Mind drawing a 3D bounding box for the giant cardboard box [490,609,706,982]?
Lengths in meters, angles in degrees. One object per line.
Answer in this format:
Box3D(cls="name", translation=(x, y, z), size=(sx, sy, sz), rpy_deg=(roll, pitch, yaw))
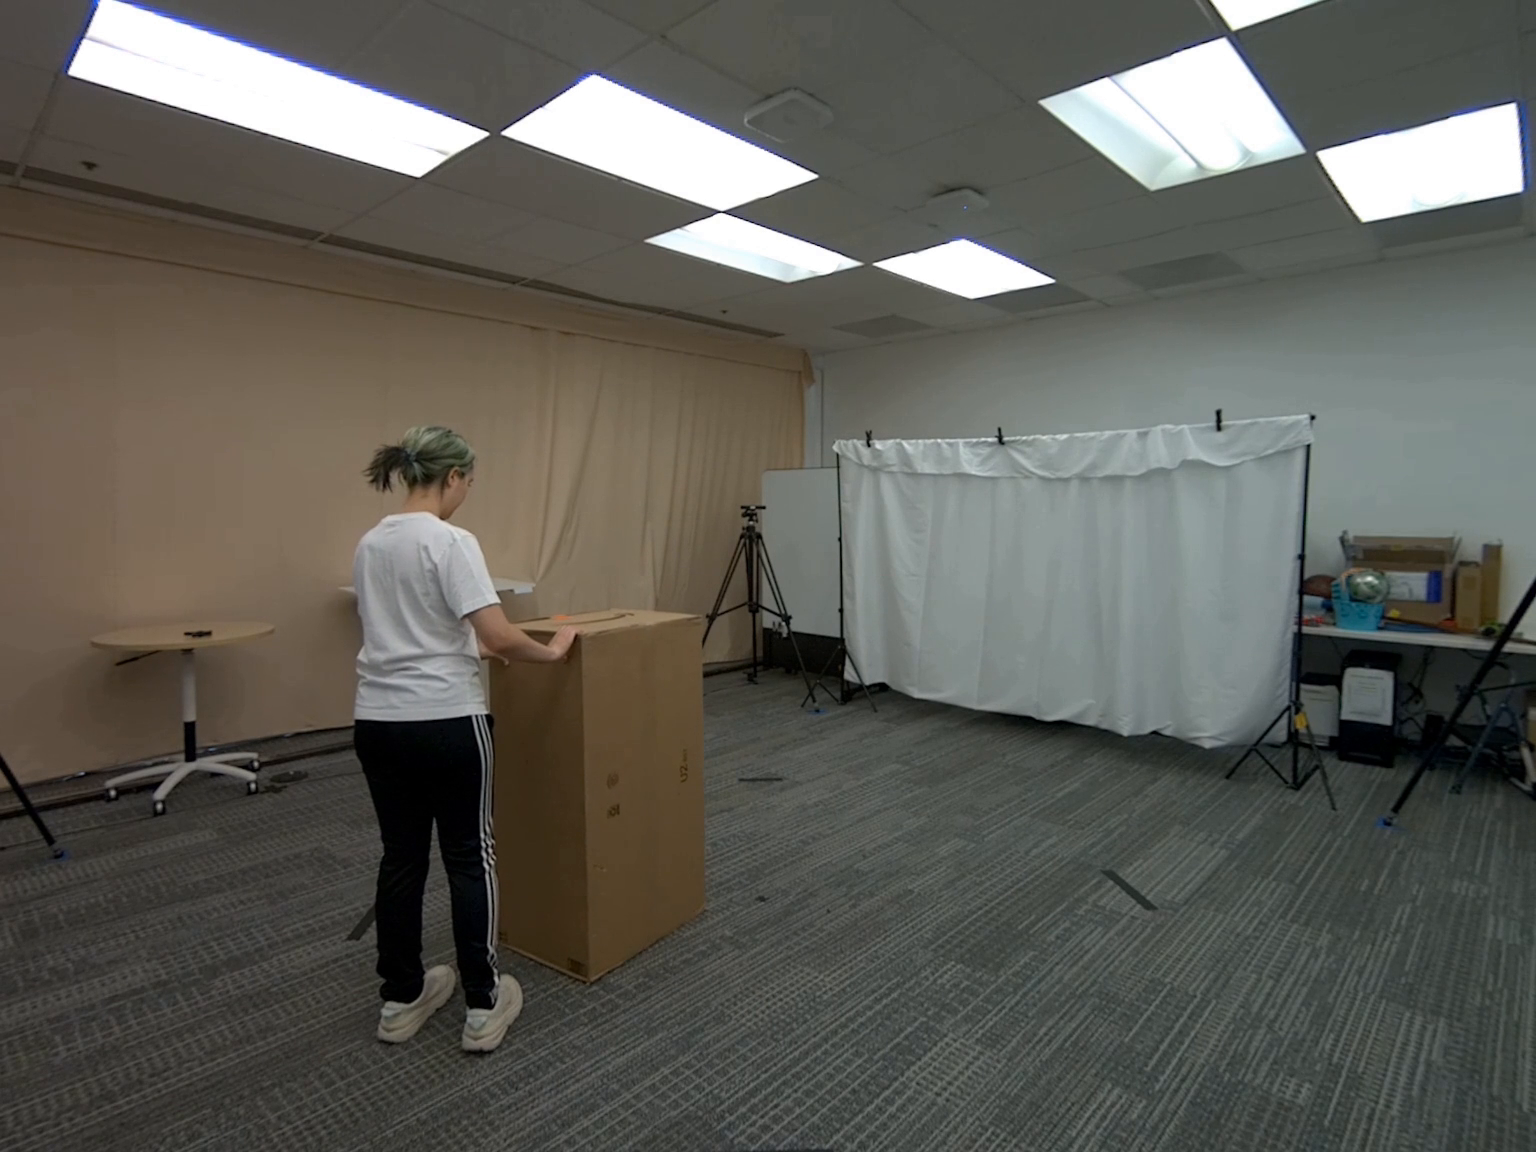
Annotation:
Box3D(cls="giant cardboard box", translation=(-0.550, 0.657, 2.782), size=(0.461, 1.025, 0.567), rpy_deg=(2, 4, 34))
